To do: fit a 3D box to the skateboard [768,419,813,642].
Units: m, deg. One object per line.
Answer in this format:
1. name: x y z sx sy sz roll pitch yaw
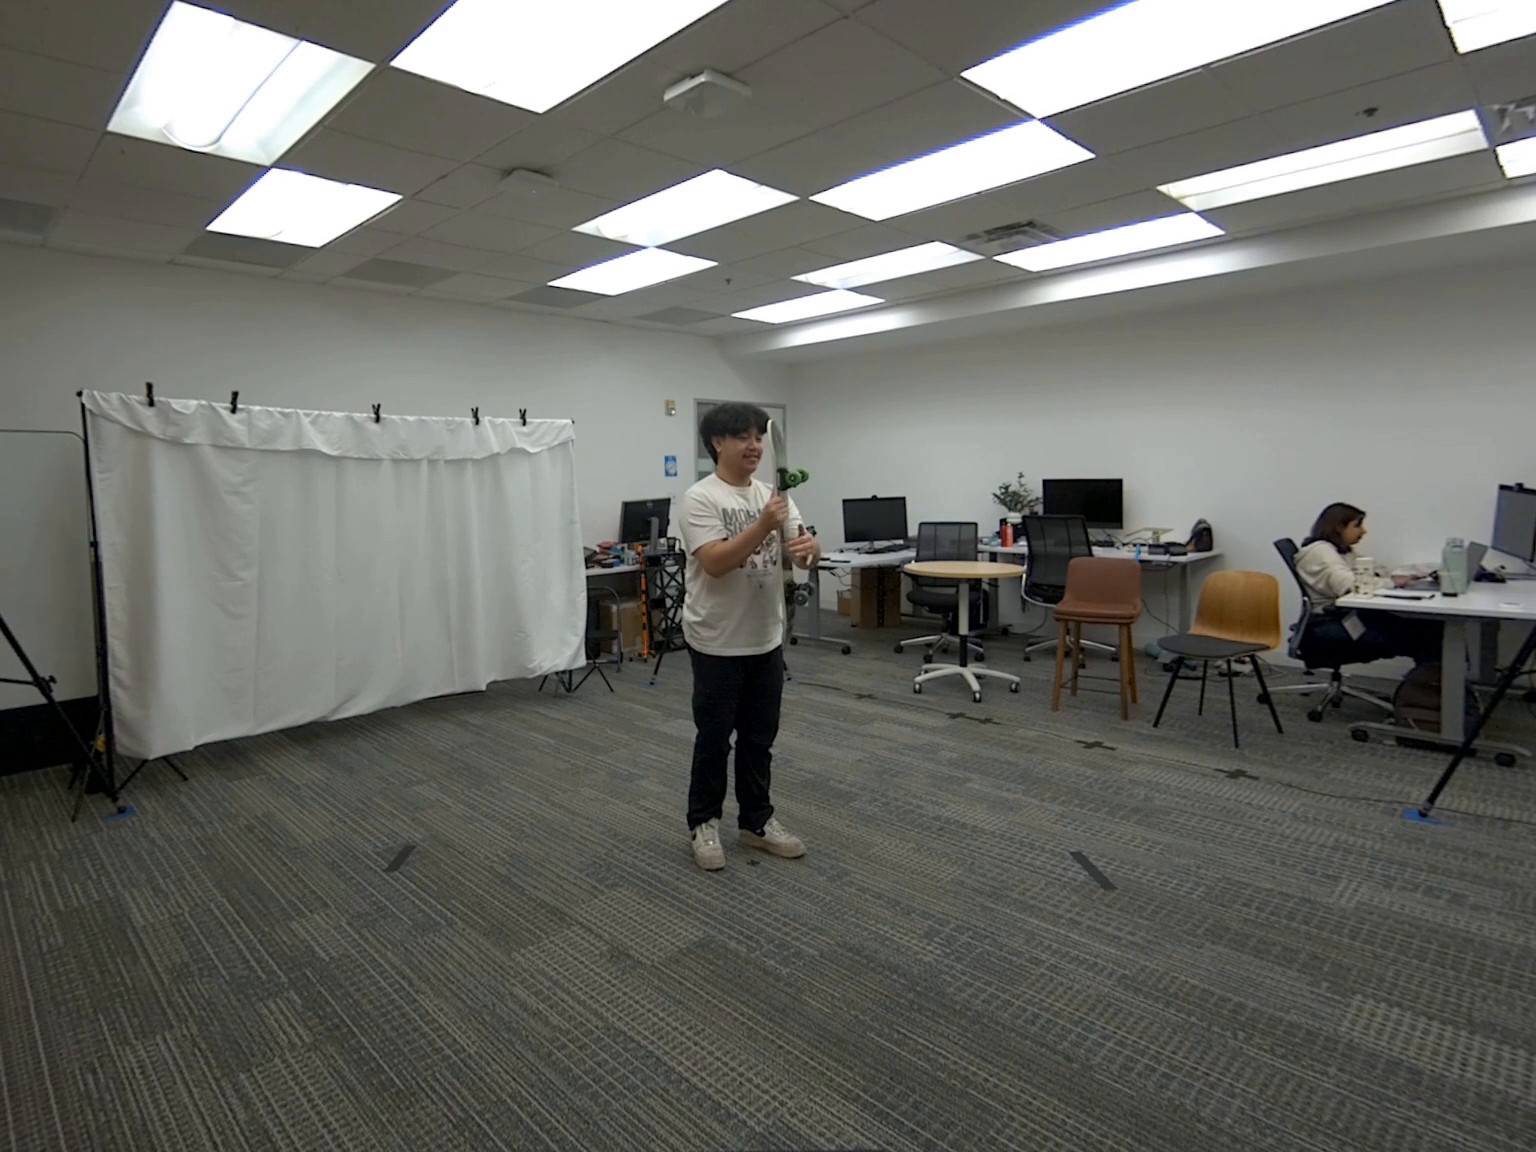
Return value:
1. skateboard: 0.080 -0.141 2.915 0.112 0.781 0.191 -1 5 15
